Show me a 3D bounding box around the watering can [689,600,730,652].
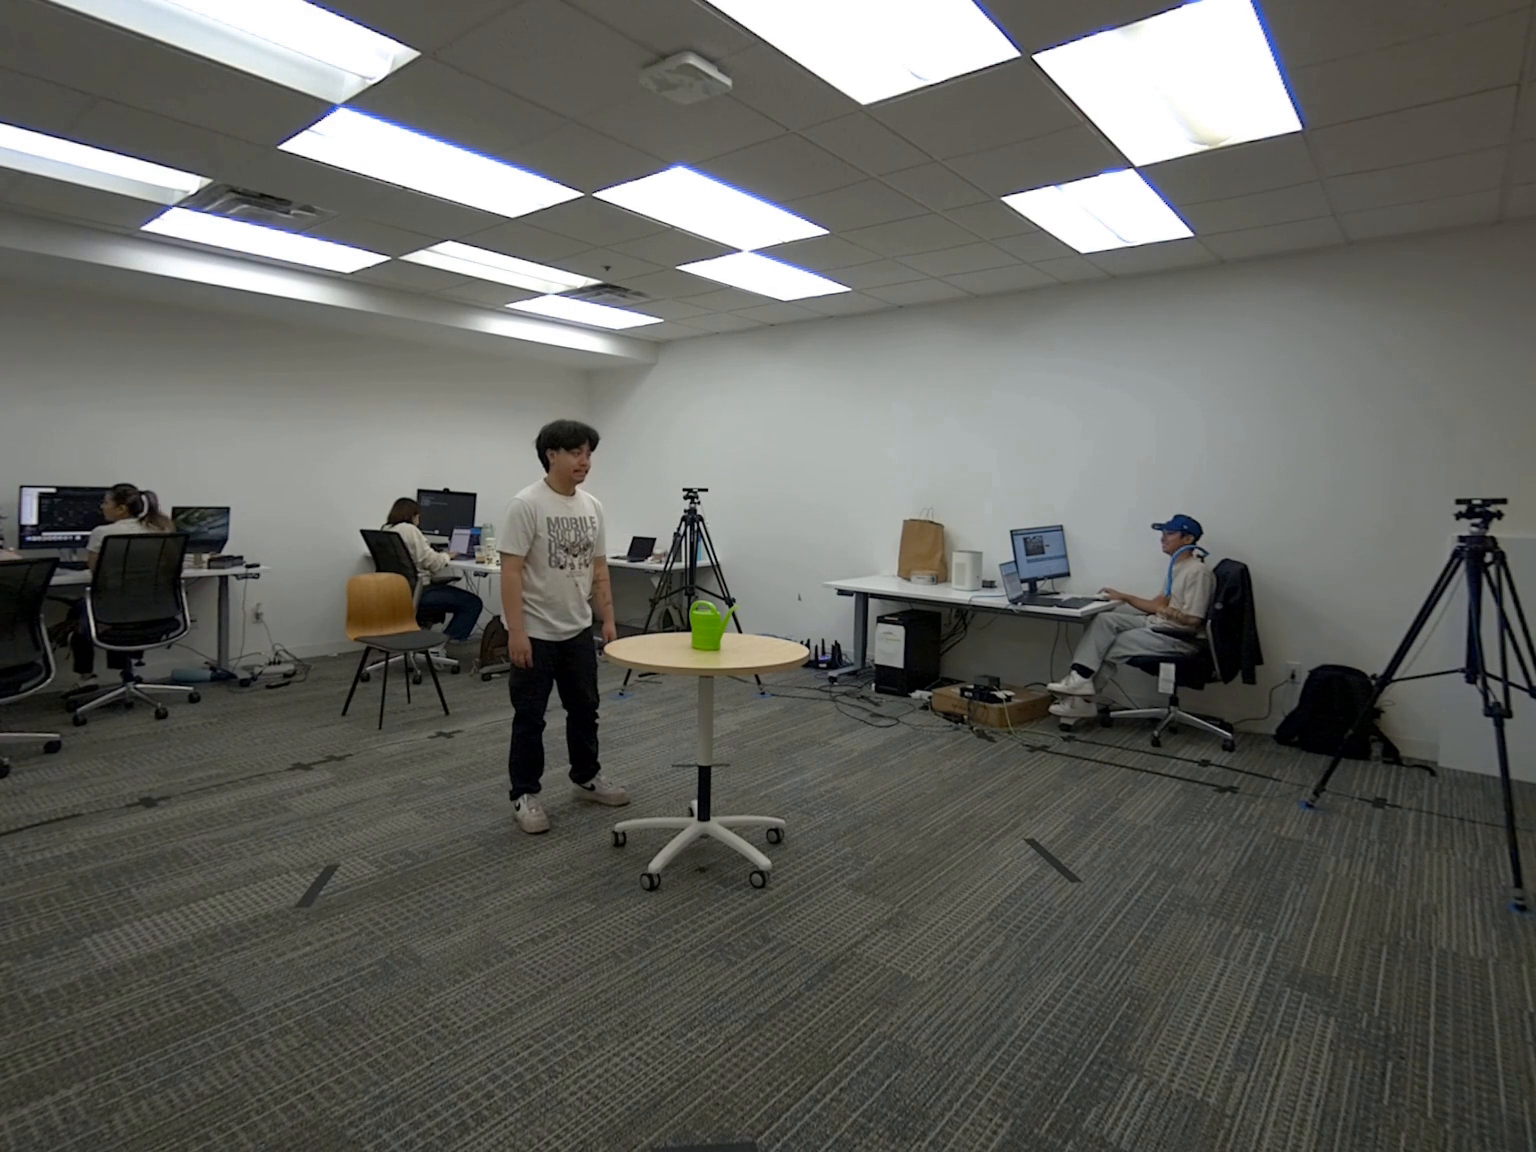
[{"bbox_3d":[-0.224,0.183,3.156,0.095,0.176,0.286,-4,5,-28],"label":"watering can"}]
